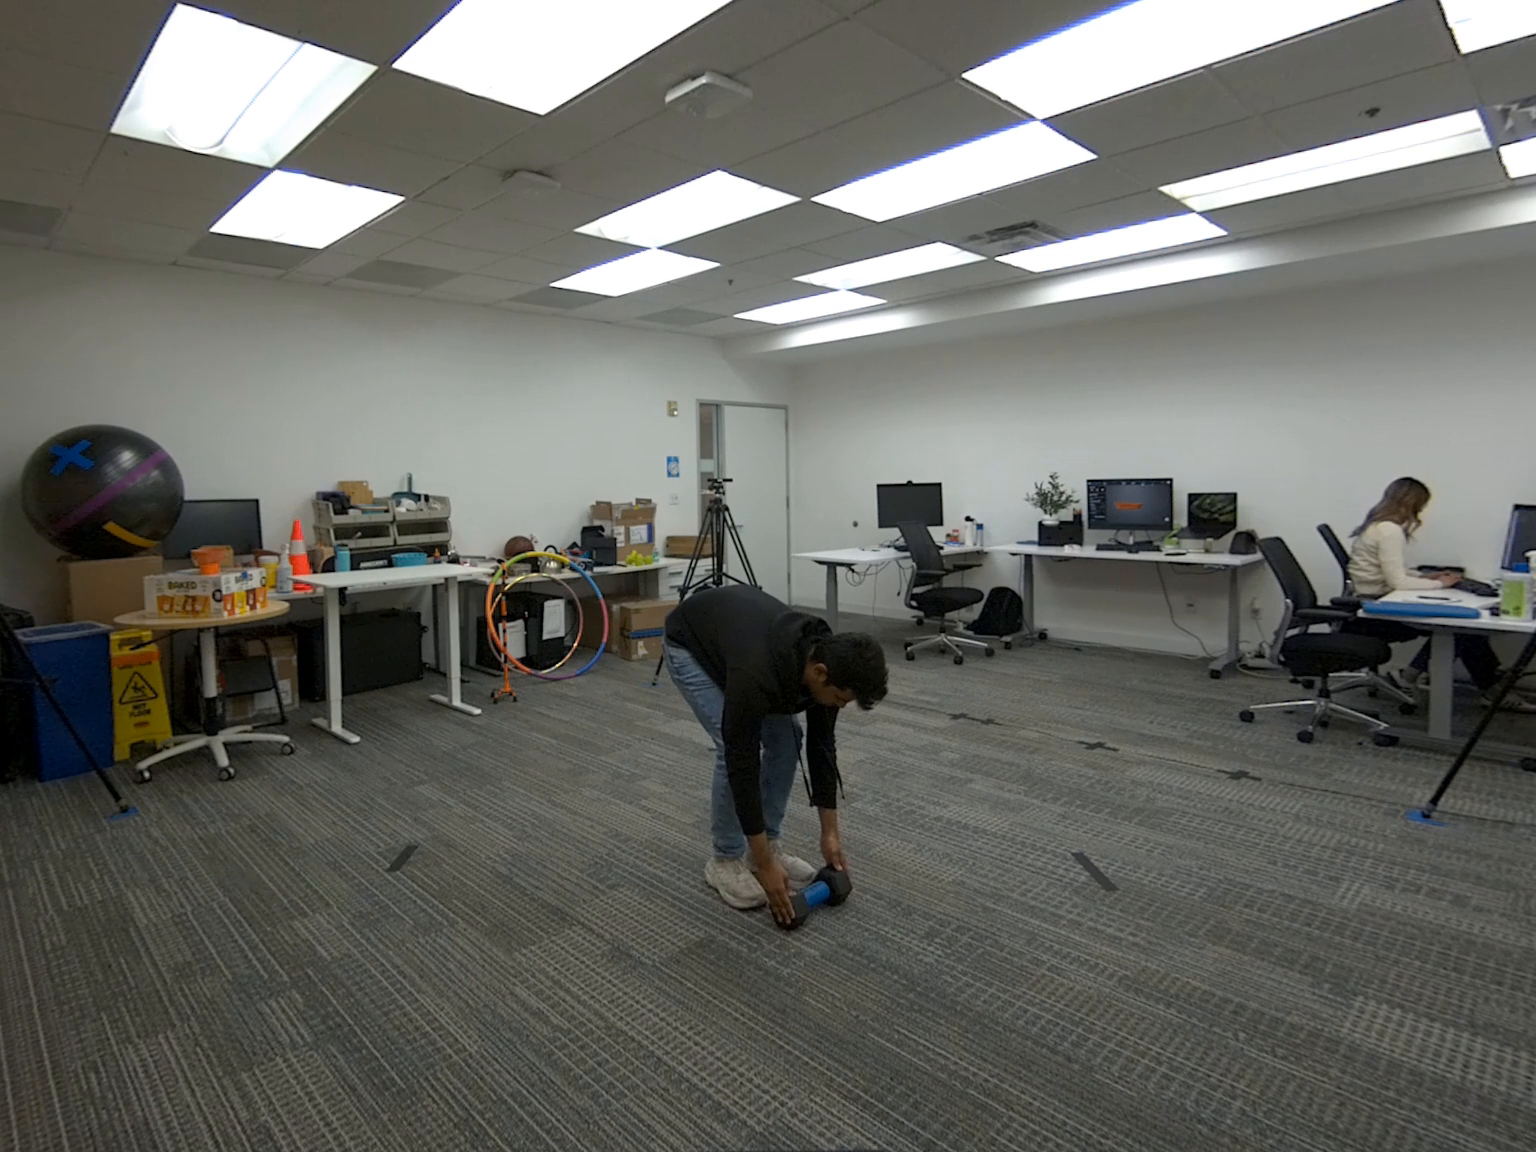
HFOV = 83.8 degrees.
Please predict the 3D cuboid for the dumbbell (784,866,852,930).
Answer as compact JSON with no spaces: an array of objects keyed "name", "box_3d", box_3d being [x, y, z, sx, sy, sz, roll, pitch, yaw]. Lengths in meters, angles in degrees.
[{"name":"dumbbell","box_3d":[0.140,1.030,2.747,0.286,0.108,0.126,-6,5,-43]}]
